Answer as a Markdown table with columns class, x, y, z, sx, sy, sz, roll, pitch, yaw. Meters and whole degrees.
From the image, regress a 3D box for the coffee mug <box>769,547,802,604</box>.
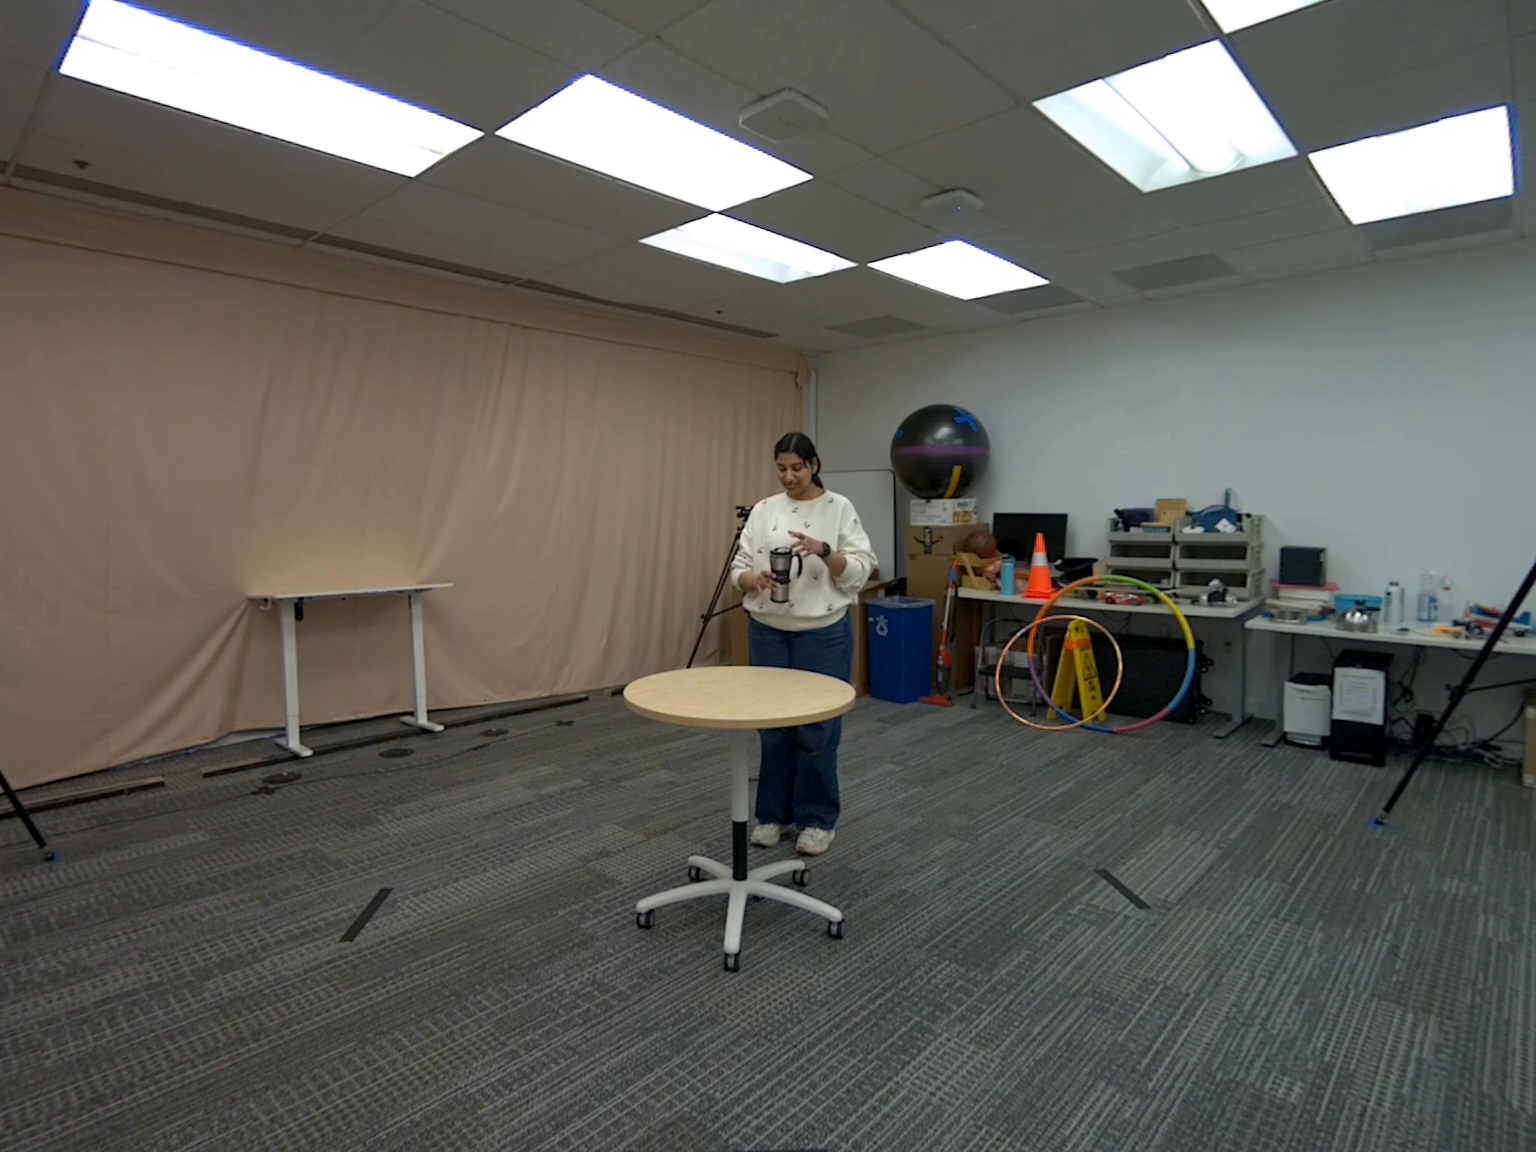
| class | x | y | z | sx | sy | sz | roll | pitch | yaw |
| --- | --- | --- | --- | --- | --- | --- | --- | --- | --- |
| coffee mug | 0.066 | 0.003 | 3.159 | 0.085 | 0.202 | 0.126 | -3 | 12 | -35 |
